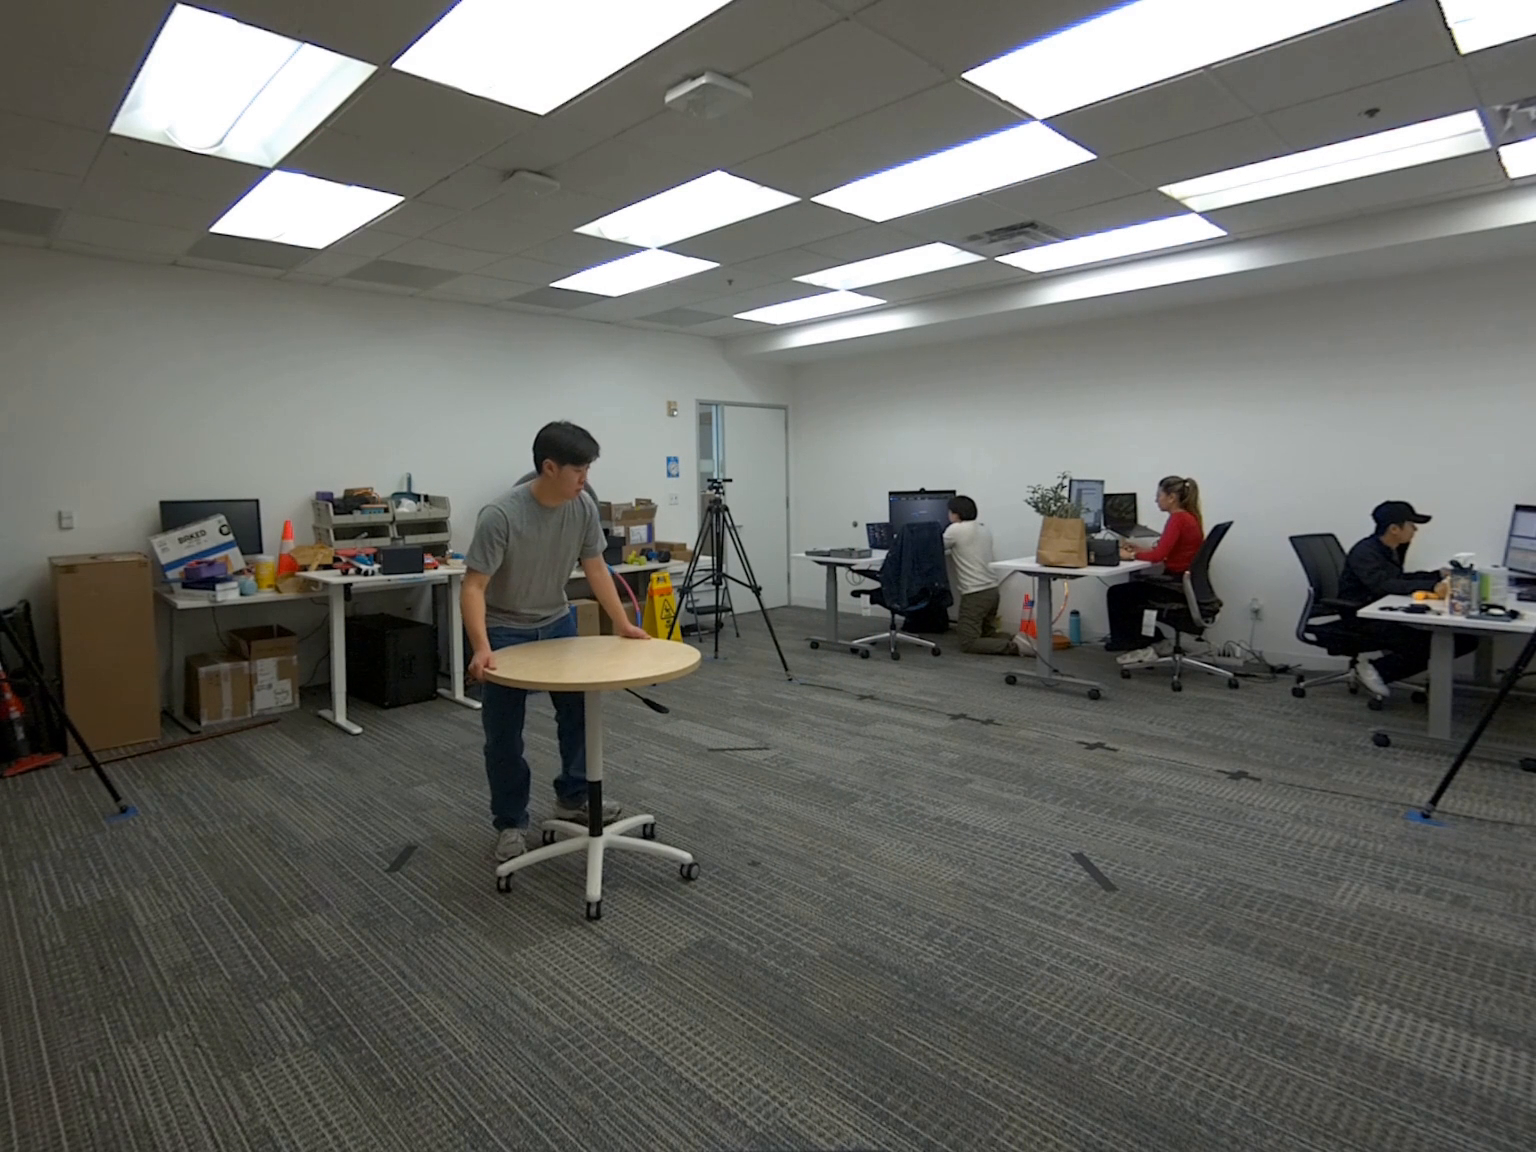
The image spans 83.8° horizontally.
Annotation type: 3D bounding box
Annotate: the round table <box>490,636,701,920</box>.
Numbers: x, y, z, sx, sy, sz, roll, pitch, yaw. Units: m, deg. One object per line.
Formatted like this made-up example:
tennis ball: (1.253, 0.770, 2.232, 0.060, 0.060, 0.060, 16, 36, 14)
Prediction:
round table: (-0.605, 0.674, 3.026, 0.763, 0.791, 0.768, -1, 5, -2)
